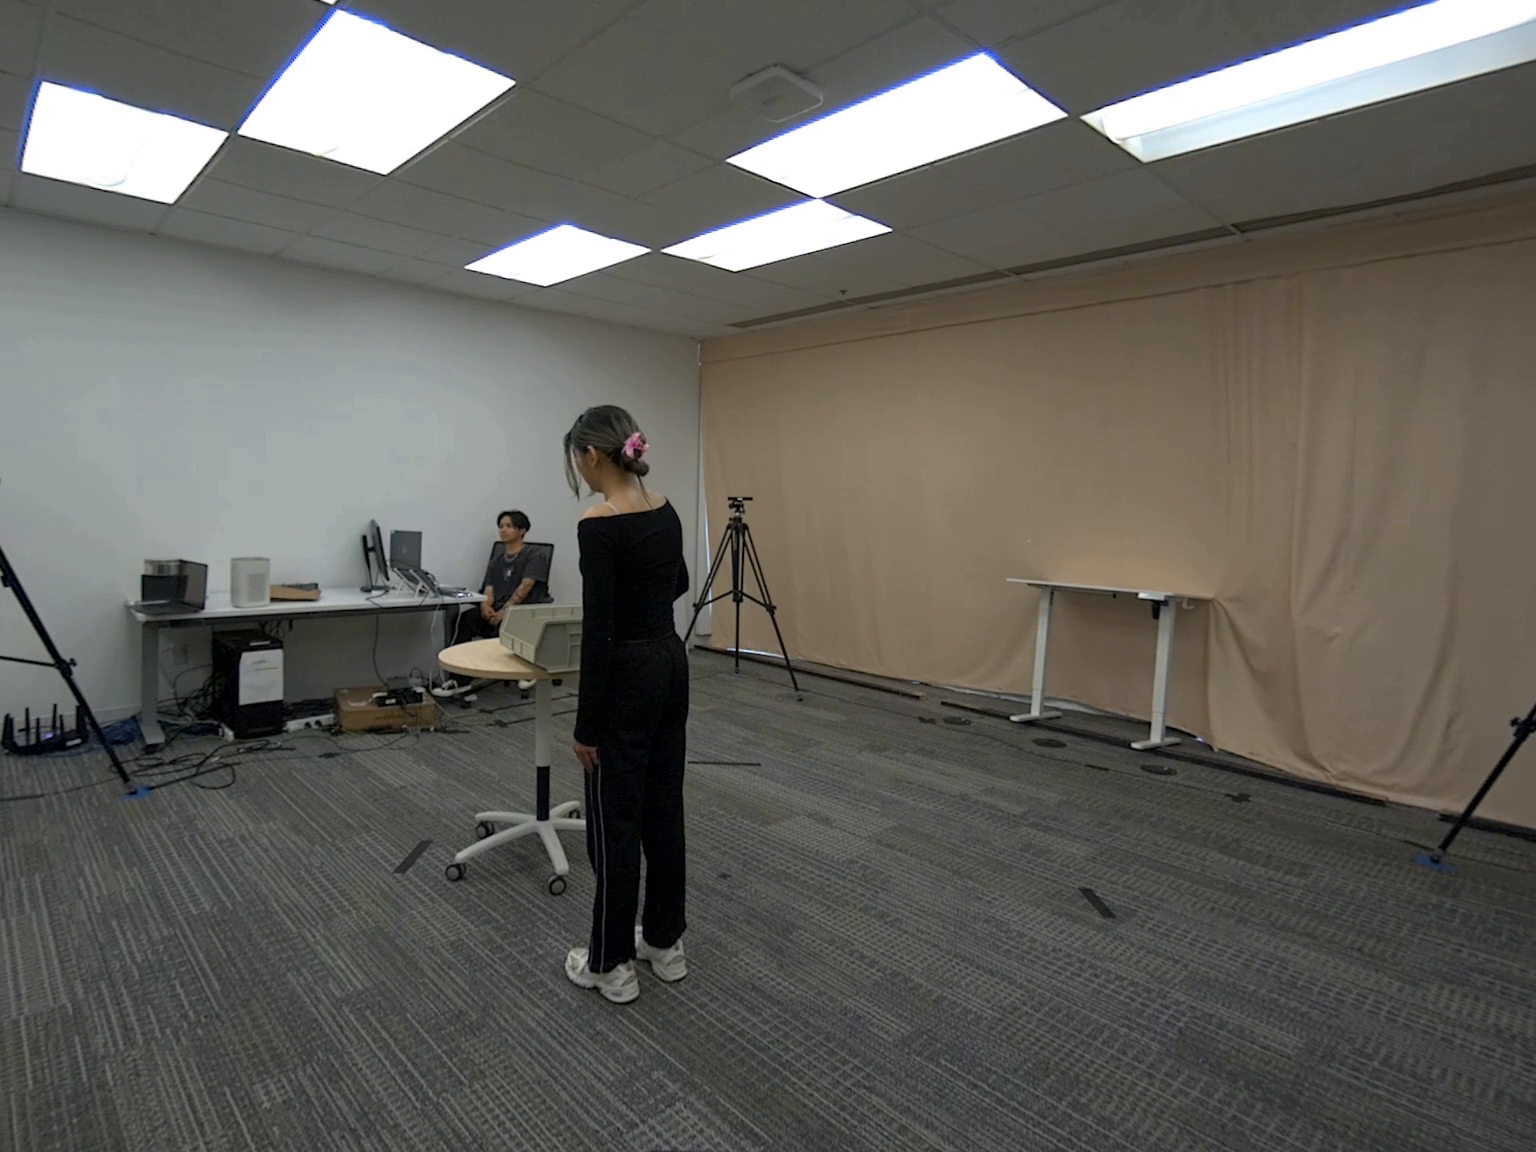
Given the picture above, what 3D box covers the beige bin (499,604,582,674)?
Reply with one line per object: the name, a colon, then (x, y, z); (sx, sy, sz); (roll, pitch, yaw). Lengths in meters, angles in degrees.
beige bin: (-0.737, 0.217, 3.053); (0.369, 0.188, 0.432); (-1, 5, -32)
